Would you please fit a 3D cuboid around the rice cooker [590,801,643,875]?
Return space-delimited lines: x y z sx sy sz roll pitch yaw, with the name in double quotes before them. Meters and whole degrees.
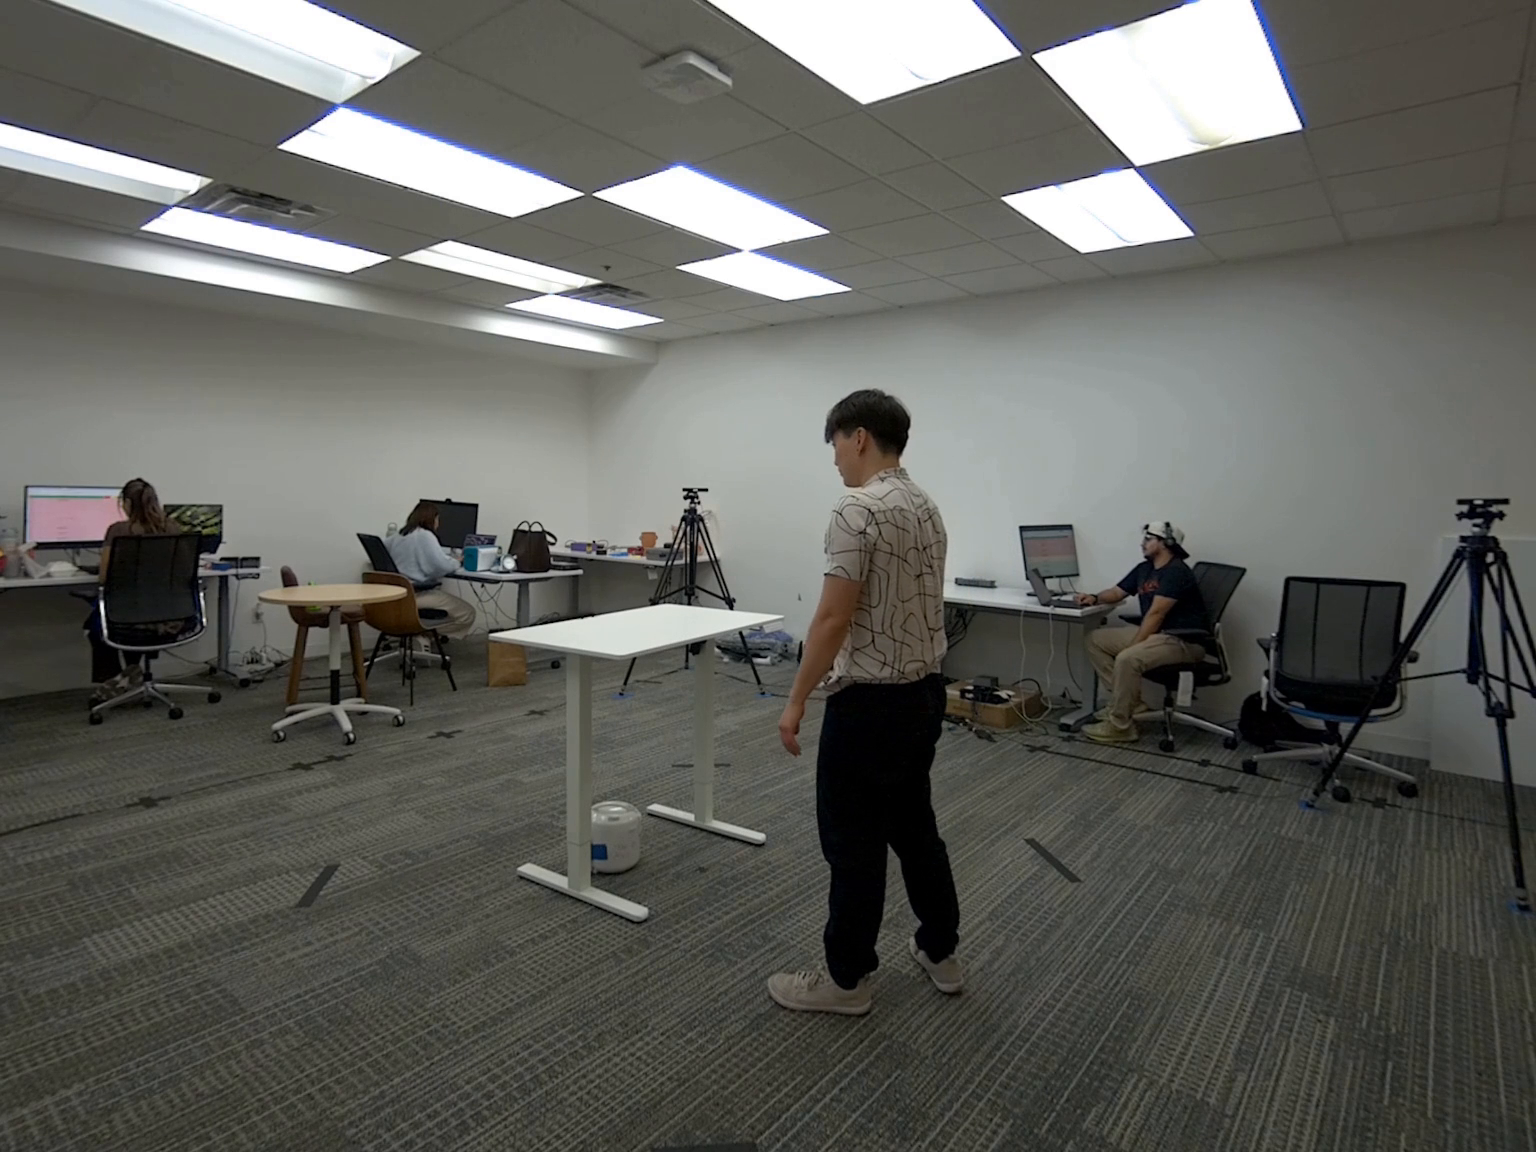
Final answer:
"rice cooker" -0.585 0.944 3.137 0.220 0.232 0.218 1 4 -1
